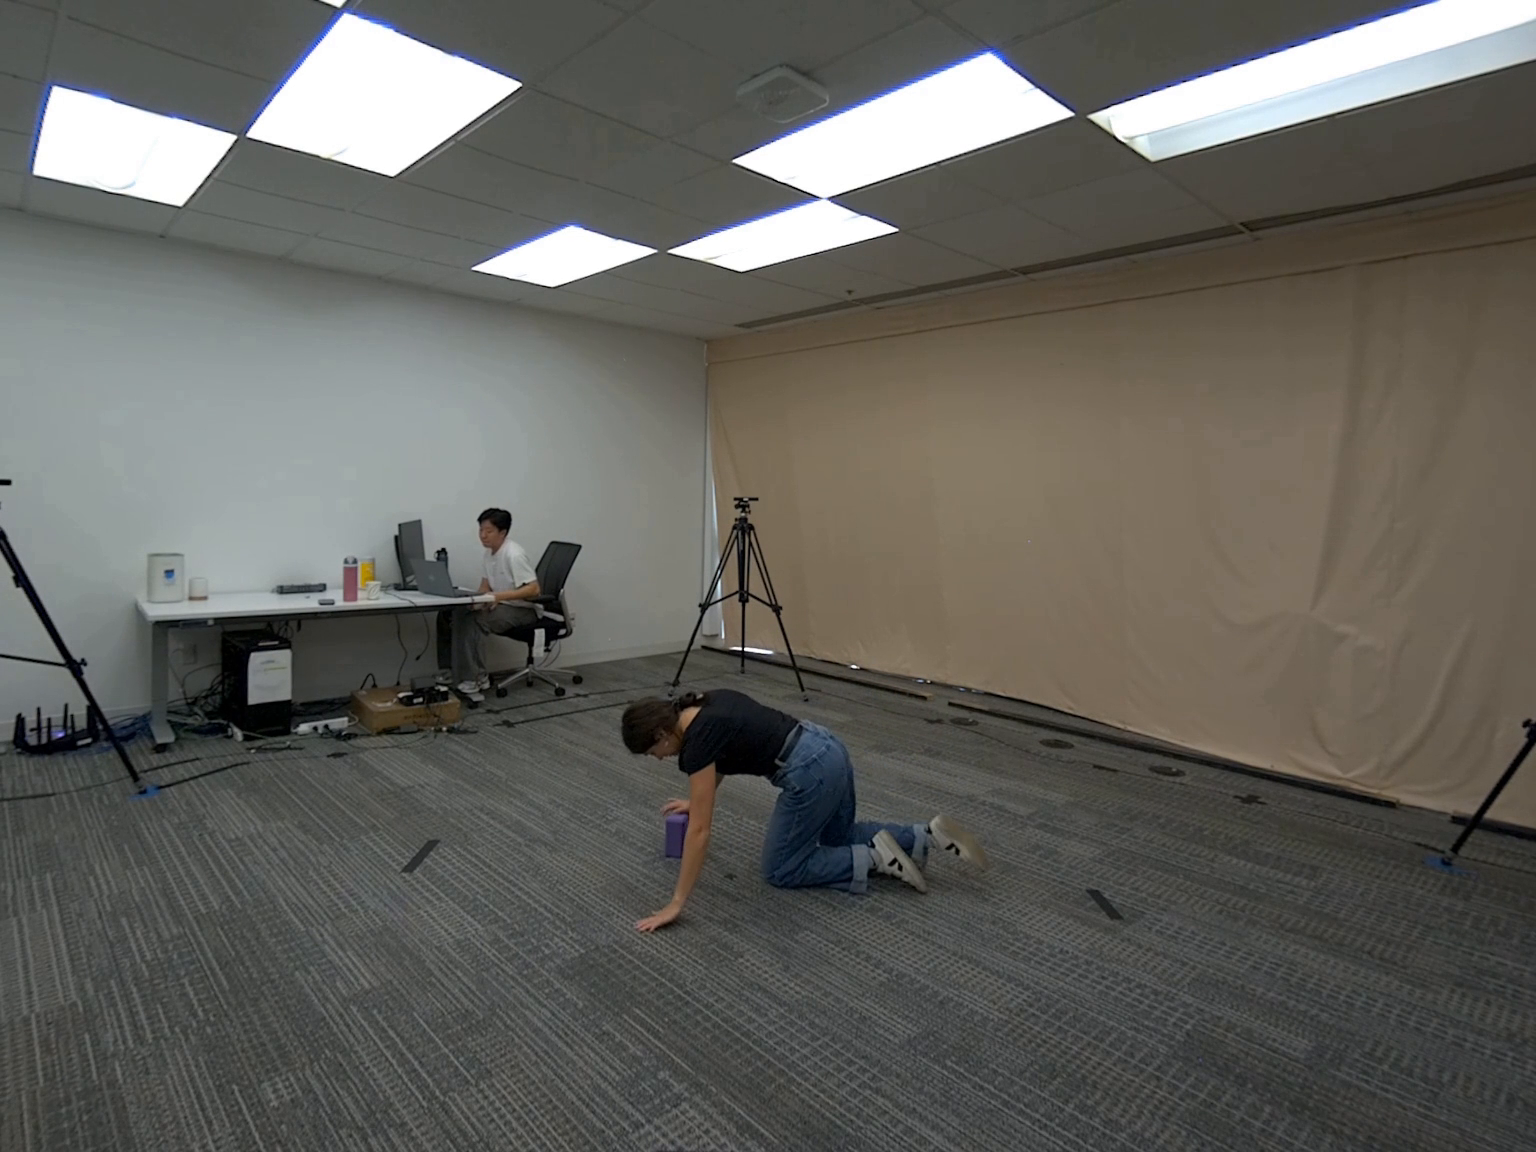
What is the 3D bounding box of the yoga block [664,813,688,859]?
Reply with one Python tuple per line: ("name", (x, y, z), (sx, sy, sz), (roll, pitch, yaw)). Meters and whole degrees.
("yoga block", (-0.355, 1.003, 3.351), (0.077, 0.148, 0.229), (2, 8, 5))
